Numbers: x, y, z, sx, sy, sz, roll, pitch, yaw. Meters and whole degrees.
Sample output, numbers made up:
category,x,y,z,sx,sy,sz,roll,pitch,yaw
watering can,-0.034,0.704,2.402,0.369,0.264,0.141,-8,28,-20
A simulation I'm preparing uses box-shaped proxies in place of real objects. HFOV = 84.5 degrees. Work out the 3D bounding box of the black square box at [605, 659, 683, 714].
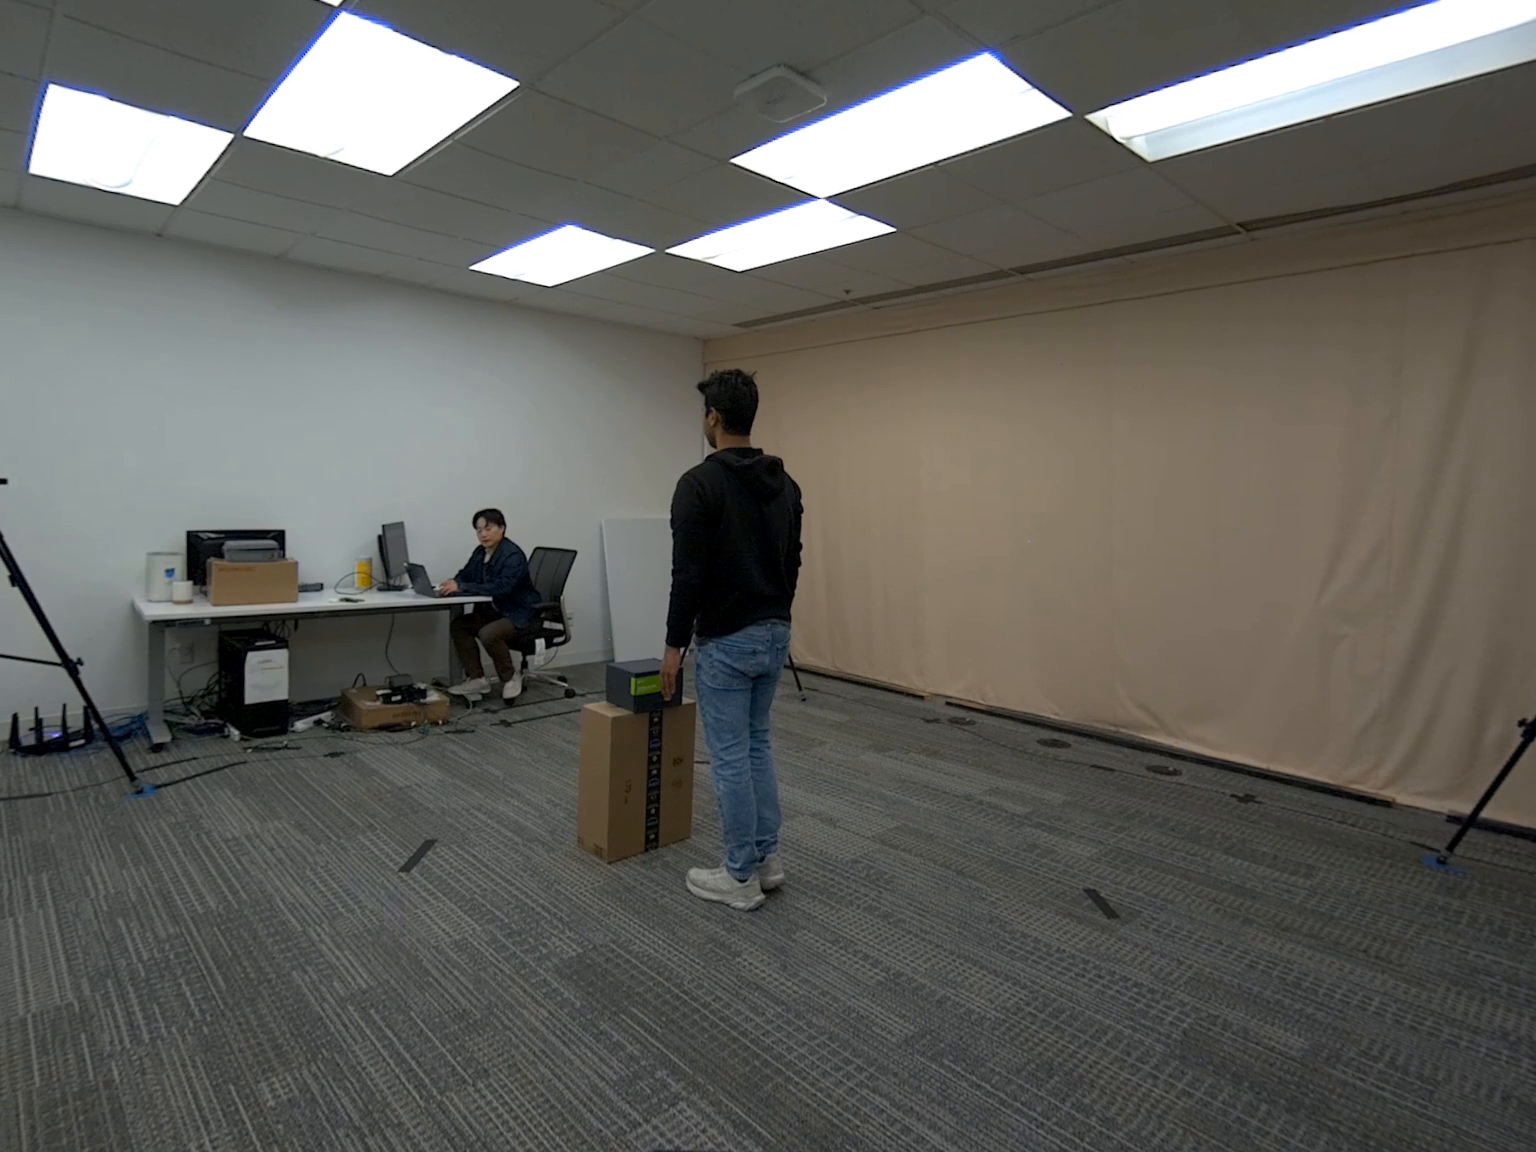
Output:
category,x,y,z,sx,sy,sz,roll,pitch,yaw
black square box,-0.499,0.430,3.355,0.223,0.155,0.222,-2,6,-41
